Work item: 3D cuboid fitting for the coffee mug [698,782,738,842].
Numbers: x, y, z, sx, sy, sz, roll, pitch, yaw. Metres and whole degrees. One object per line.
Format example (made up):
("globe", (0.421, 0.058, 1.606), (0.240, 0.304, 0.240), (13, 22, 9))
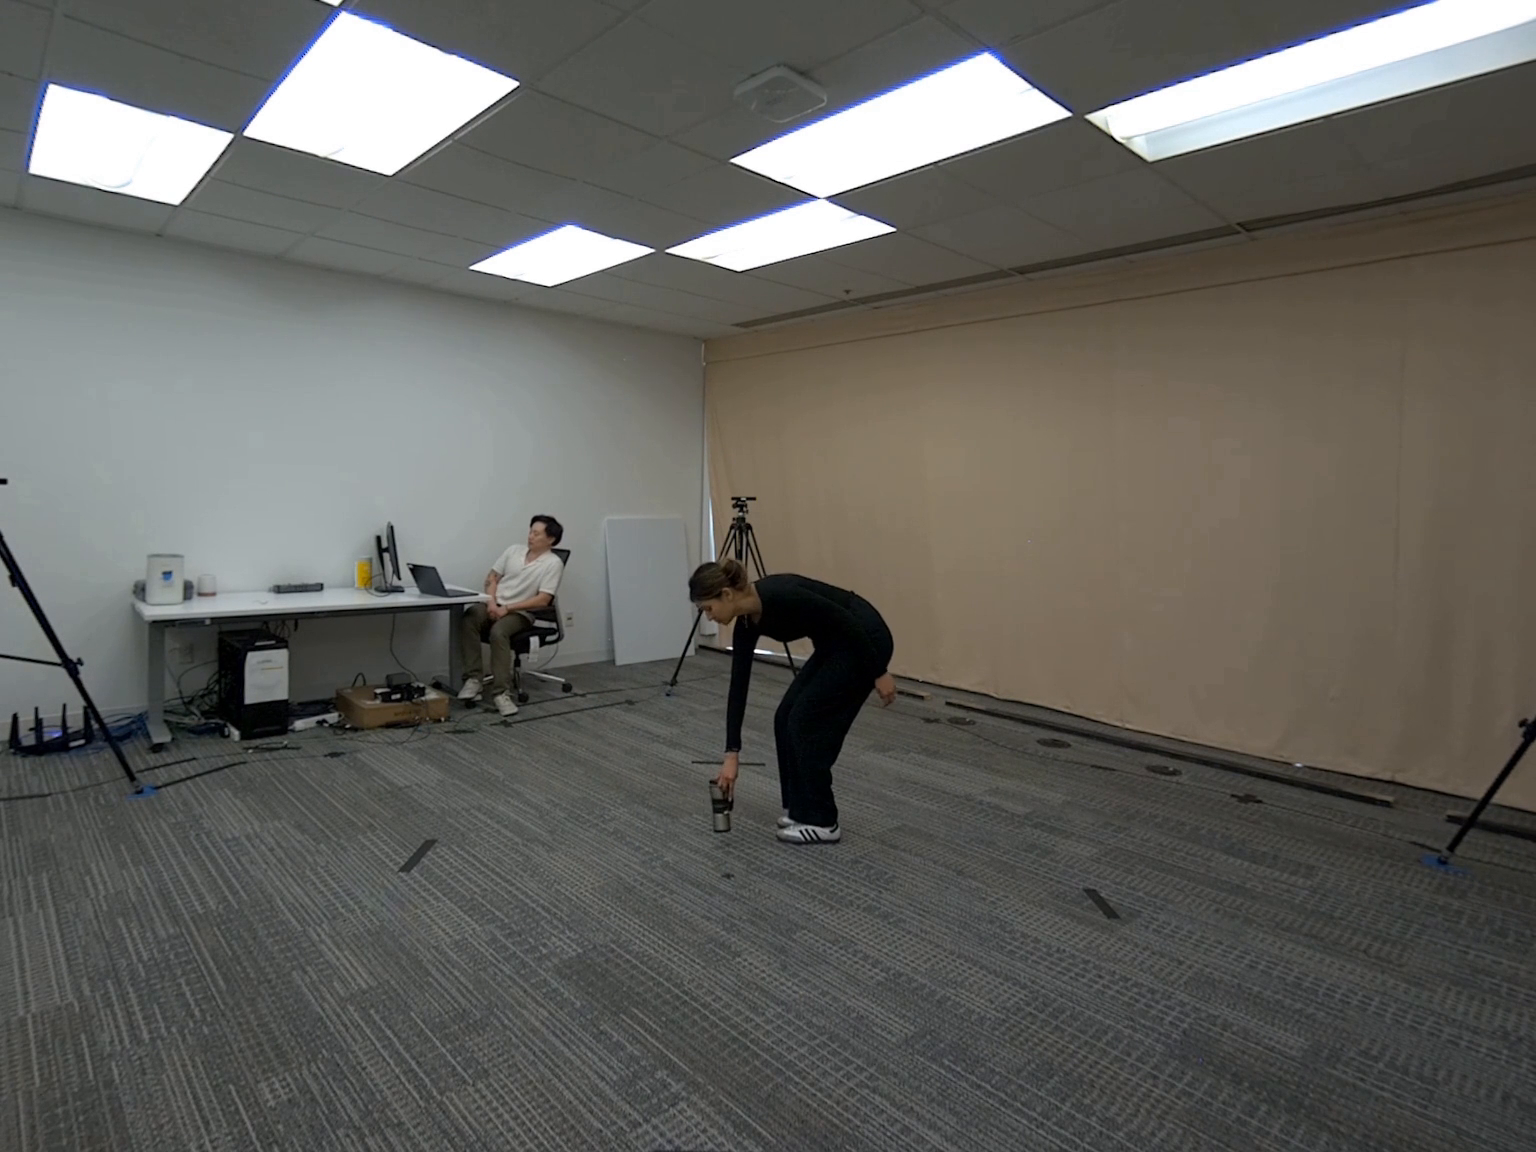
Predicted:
("coffee mug", (-0.200, 0.937, 3.380), (0.090, 0.204, 0.119), (-3, -7, 44))
